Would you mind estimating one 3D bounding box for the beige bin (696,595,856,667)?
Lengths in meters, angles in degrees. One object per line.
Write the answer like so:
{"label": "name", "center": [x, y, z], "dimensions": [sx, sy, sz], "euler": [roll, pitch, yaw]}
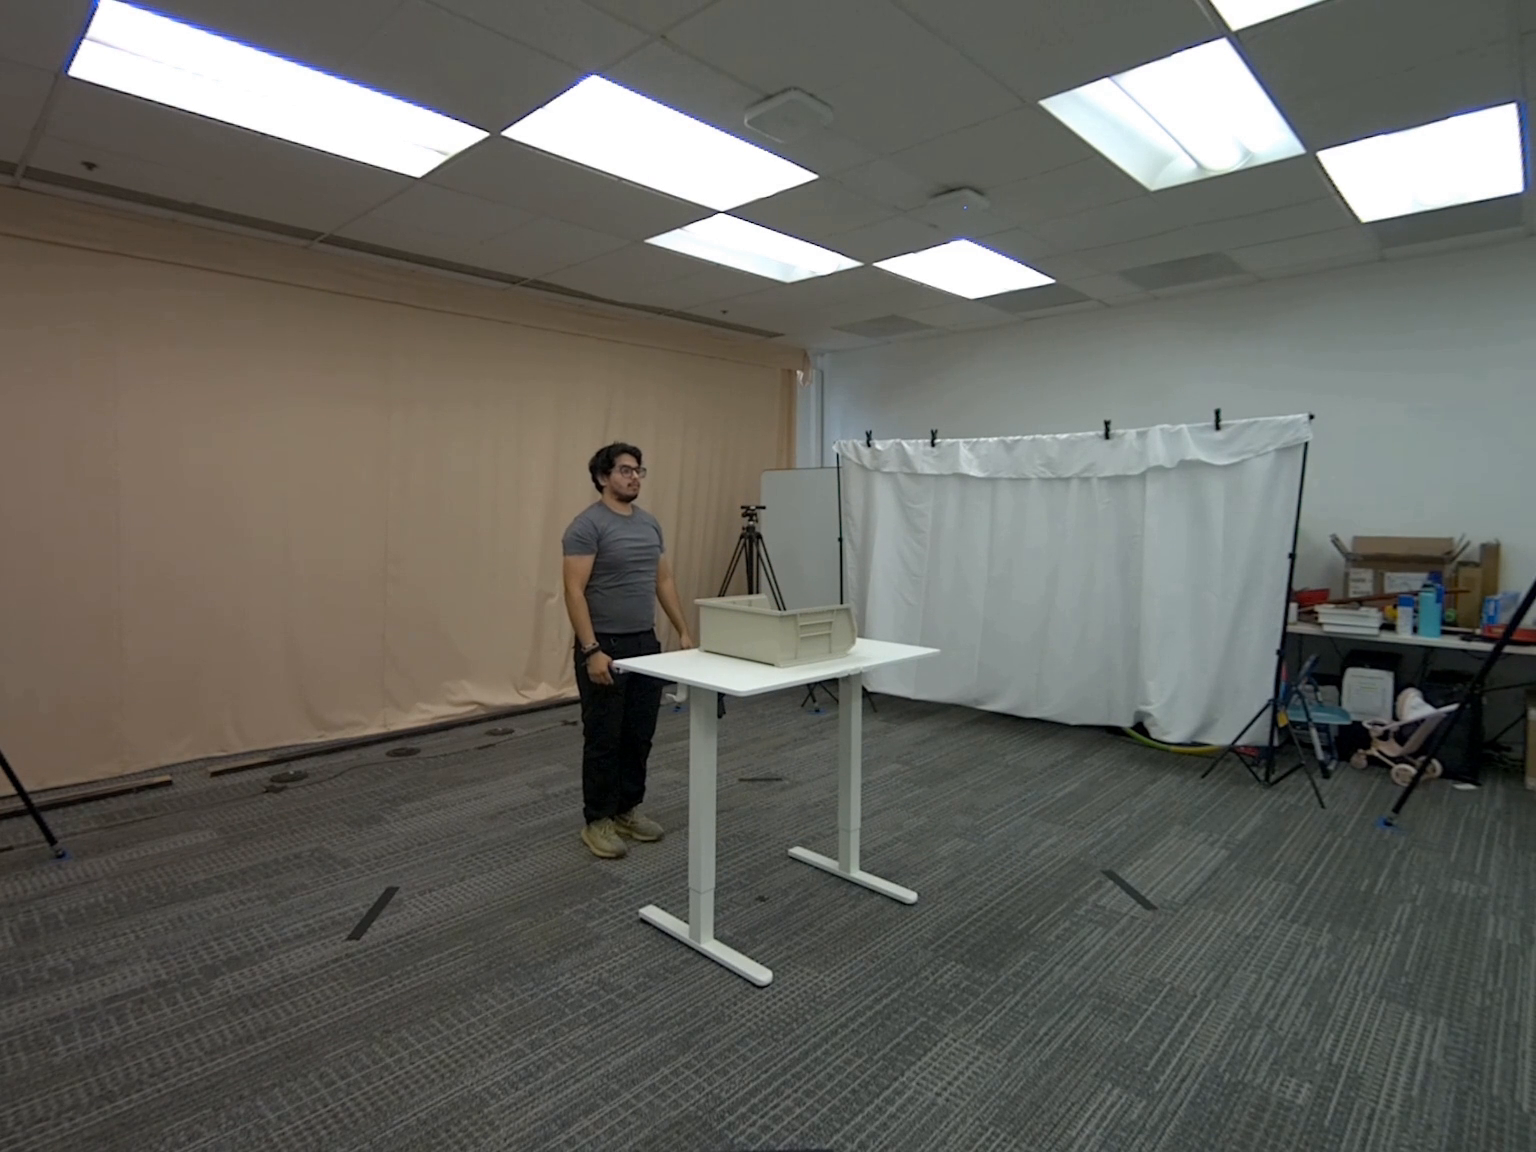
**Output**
{"label": "beige bin", "center": [0.024, 0.179, 2.895], "dimensions": [0.366, 0.188, 0.436], "euler": [-5, 7, -42]}
